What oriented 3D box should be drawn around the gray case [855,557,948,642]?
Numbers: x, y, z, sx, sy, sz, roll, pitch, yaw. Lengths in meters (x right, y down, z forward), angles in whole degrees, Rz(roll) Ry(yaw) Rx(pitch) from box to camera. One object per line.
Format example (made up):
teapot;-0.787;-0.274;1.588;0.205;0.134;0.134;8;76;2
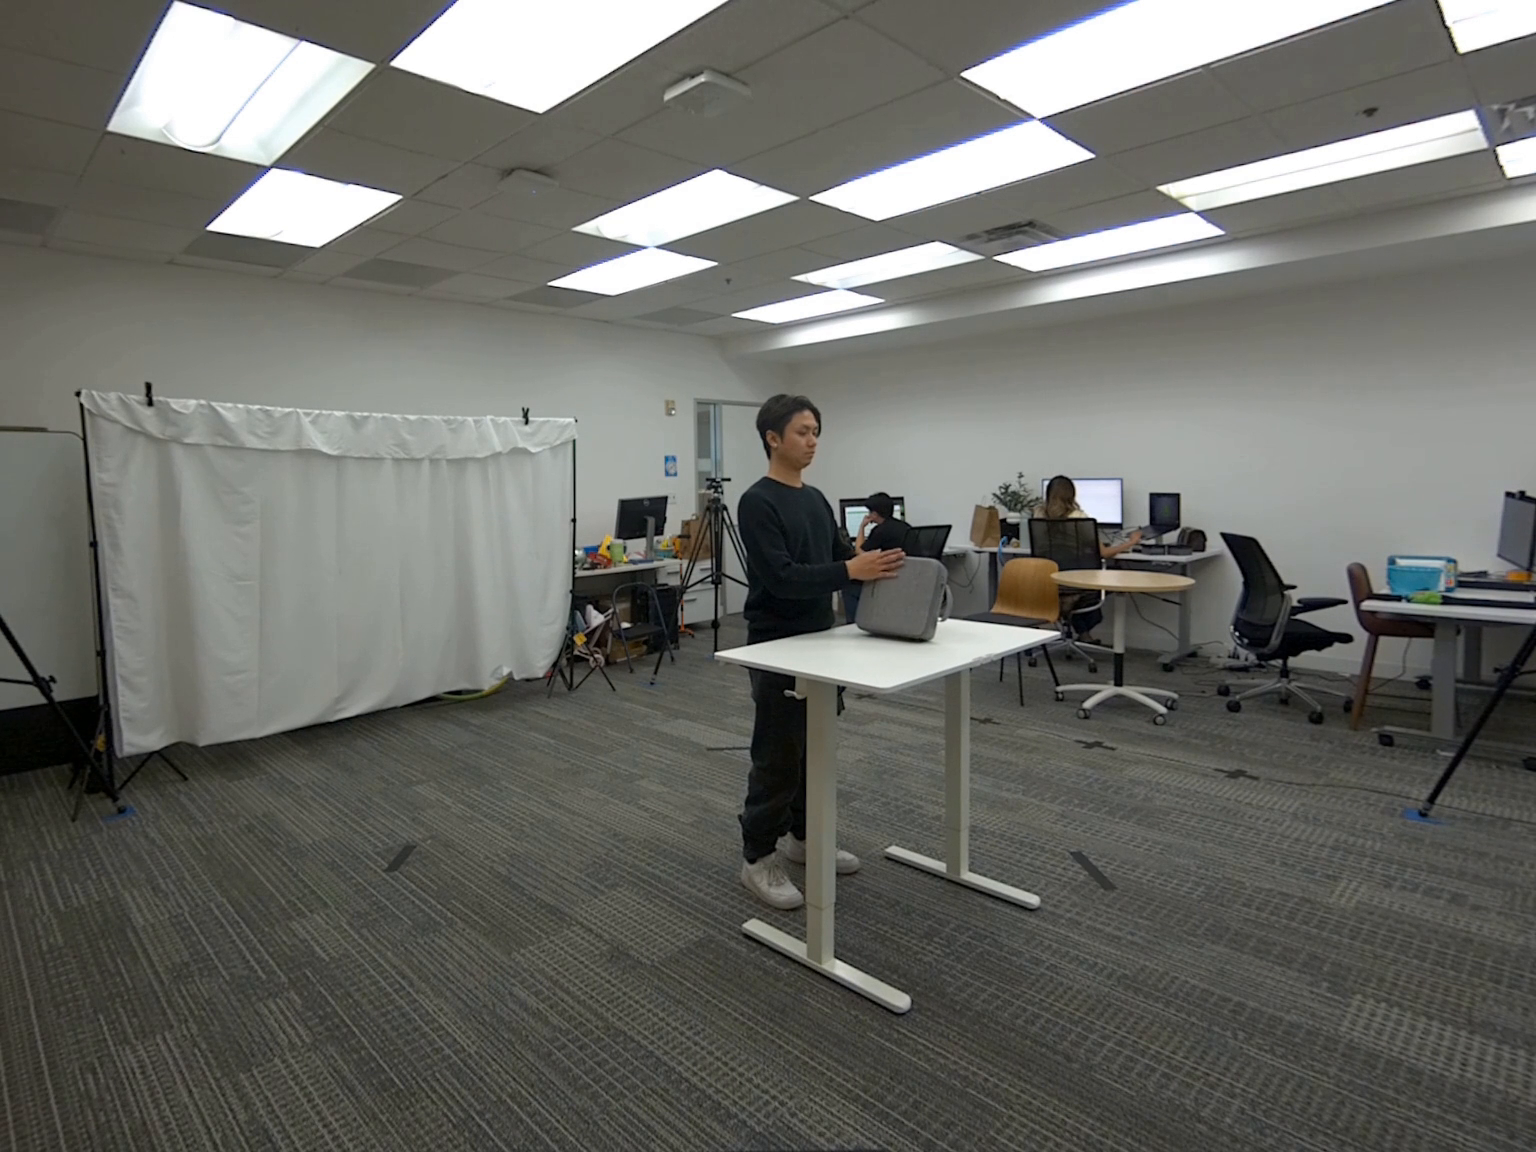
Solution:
gray case;0.431;0.068;2.717;0.269;0.259;0.100;5;-18;39
